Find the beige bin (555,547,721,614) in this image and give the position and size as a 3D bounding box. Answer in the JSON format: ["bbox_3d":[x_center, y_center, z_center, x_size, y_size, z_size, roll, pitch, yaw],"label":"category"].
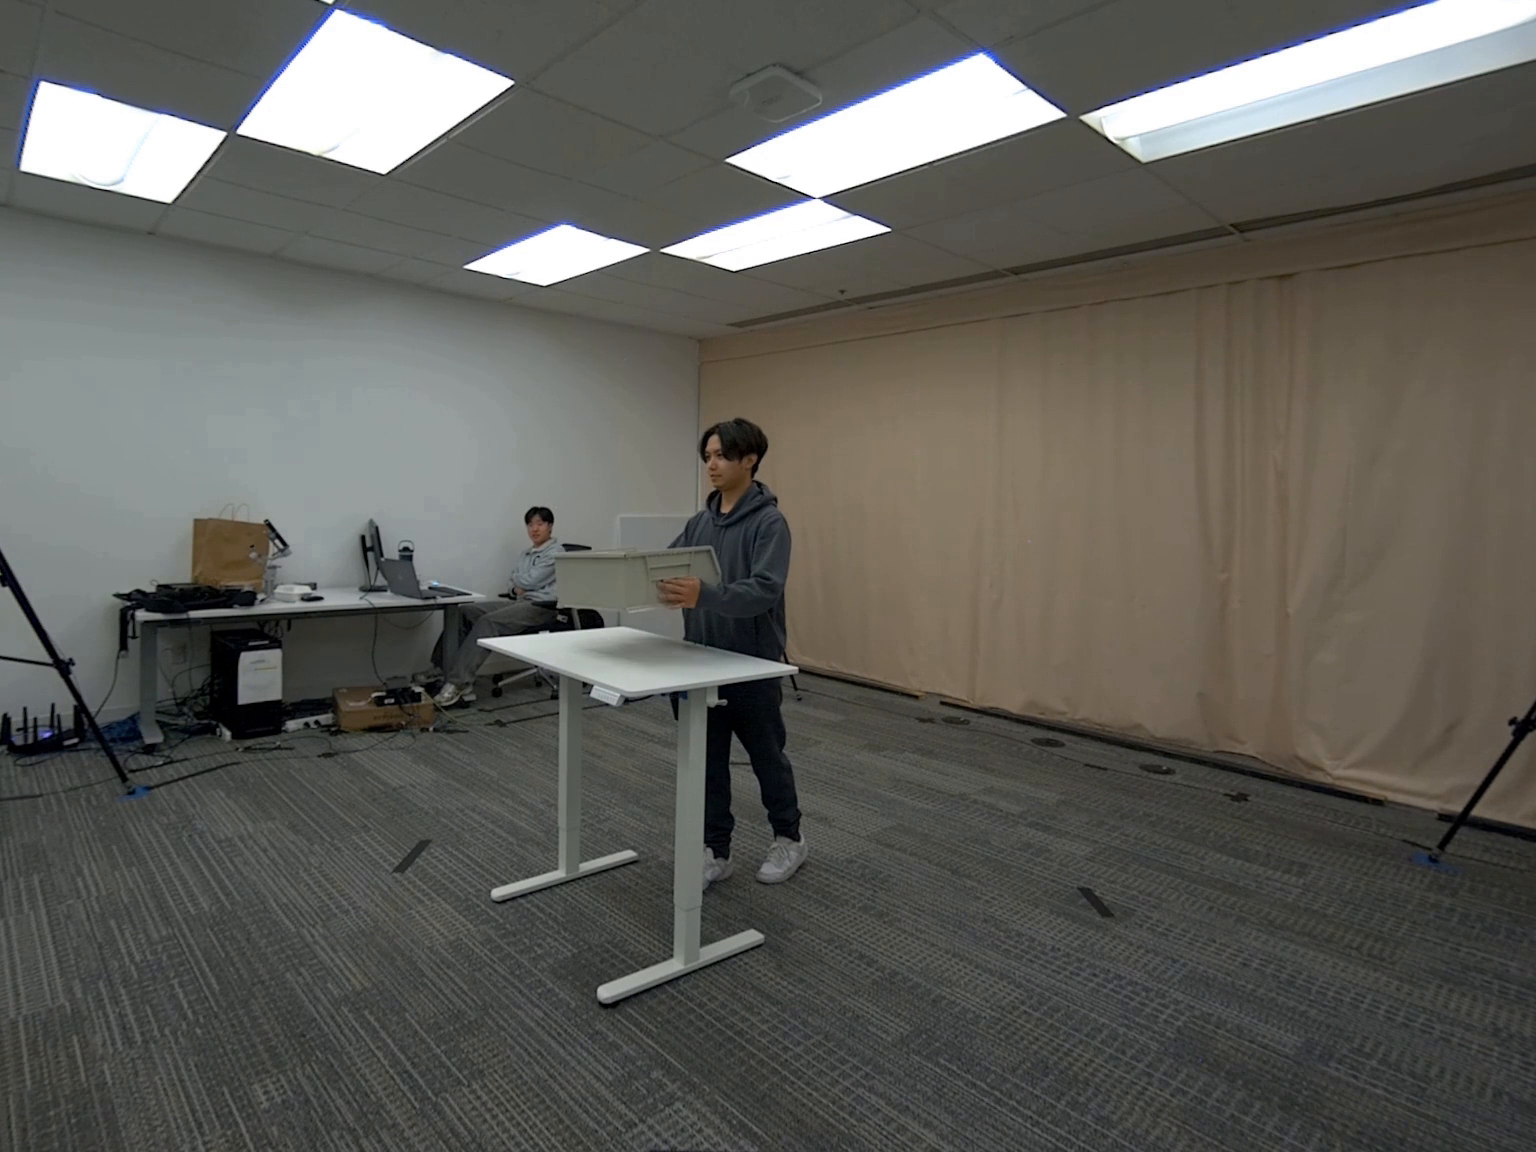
[{"bbox_3d":[-0.434,0.008,2.712,0.369,0.188,0.432,-9,7,-44],"label":"beige bin"}]
